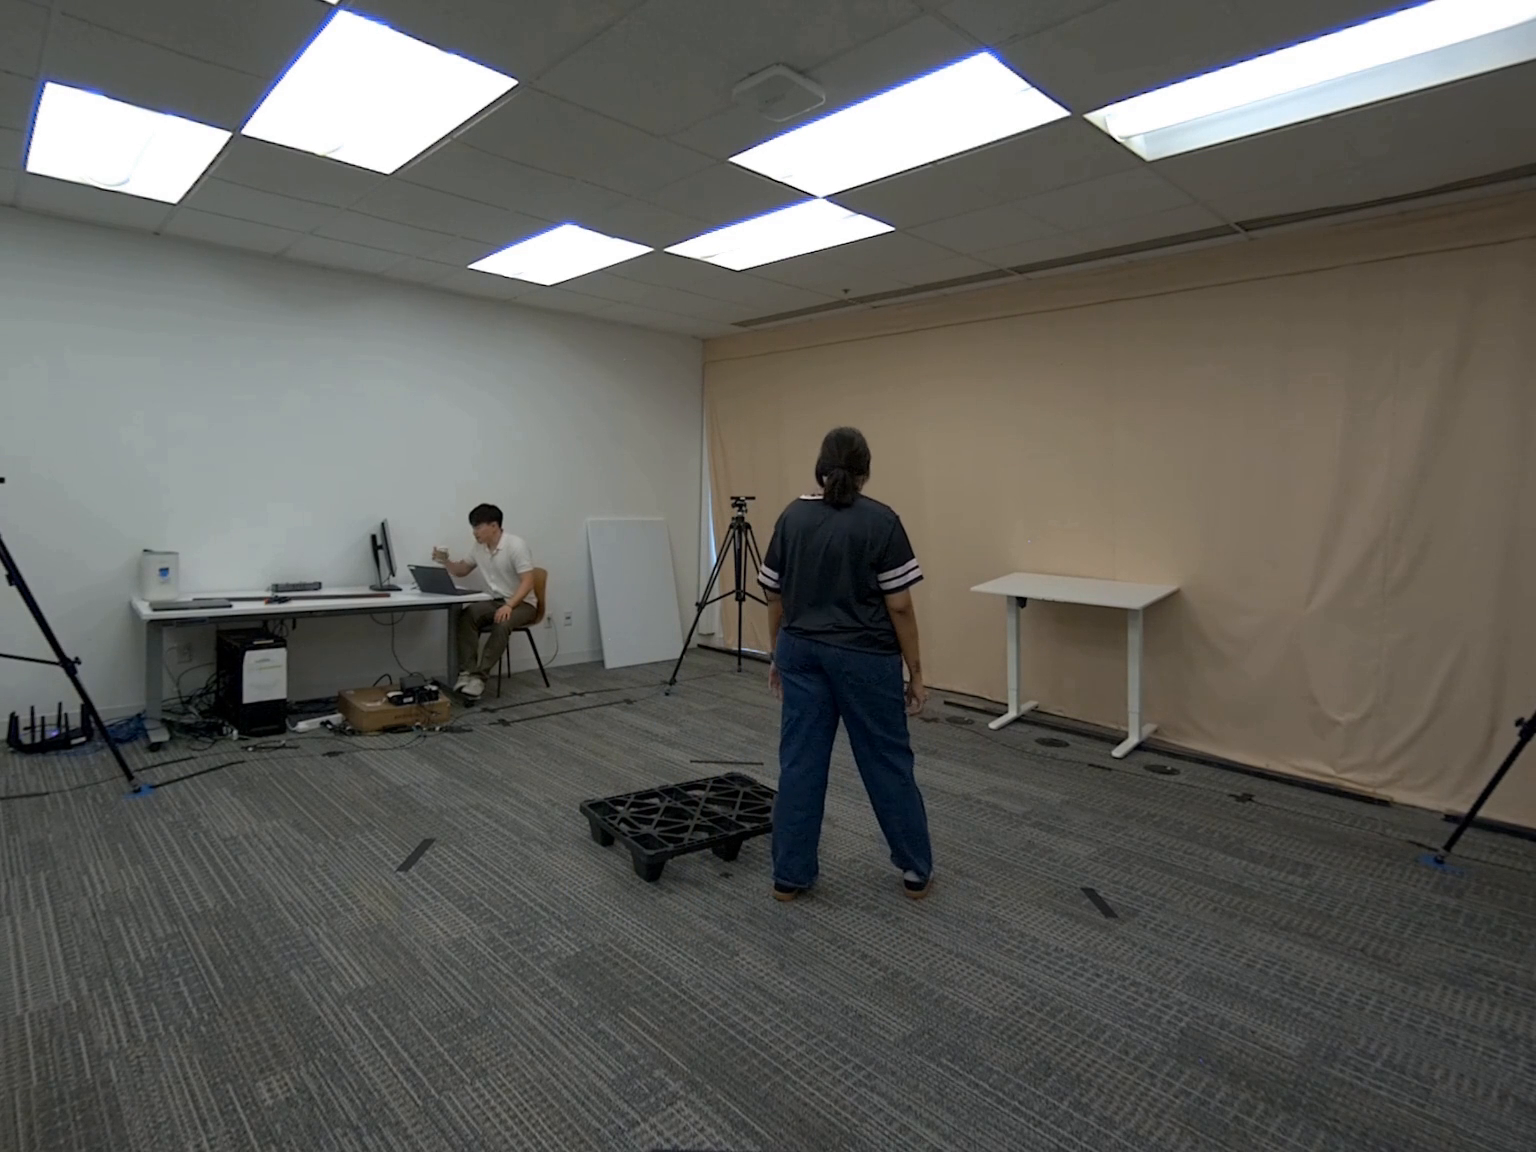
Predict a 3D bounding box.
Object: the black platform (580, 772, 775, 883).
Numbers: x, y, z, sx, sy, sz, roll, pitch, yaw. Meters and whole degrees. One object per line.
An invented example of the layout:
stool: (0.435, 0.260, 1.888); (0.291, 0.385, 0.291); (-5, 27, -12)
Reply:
black platform: (-0.291, 1.008, 3.424); (0.788, 0.143, 0.620); (-2, 5, -35)
